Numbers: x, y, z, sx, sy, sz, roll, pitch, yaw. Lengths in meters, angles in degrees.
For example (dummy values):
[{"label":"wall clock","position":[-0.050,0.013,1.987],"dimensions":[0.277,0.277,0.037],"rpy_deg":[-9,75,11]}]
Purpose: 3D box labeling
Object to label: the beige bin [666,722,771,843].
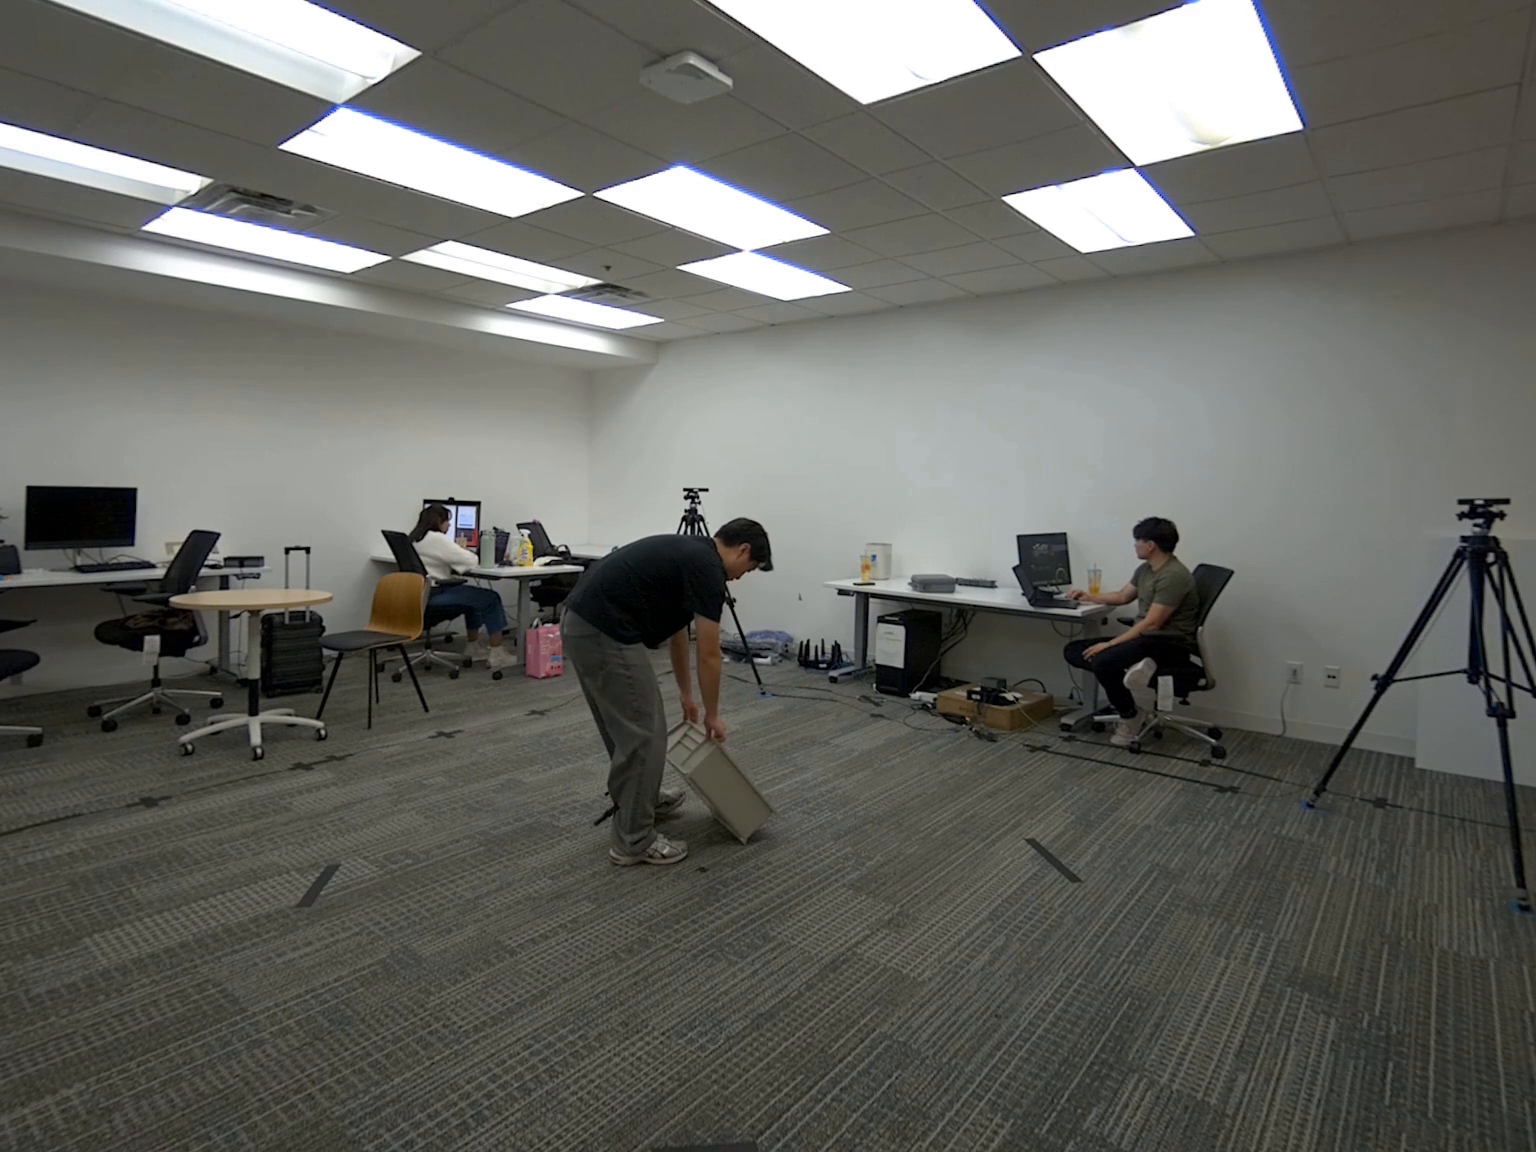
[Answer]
[{"label":"beige bin","position":[-0.218,0.823,3.446],"dimensions":[0.188,0.412,0.387],"rpy_deg":[-43,19,-13]}]
